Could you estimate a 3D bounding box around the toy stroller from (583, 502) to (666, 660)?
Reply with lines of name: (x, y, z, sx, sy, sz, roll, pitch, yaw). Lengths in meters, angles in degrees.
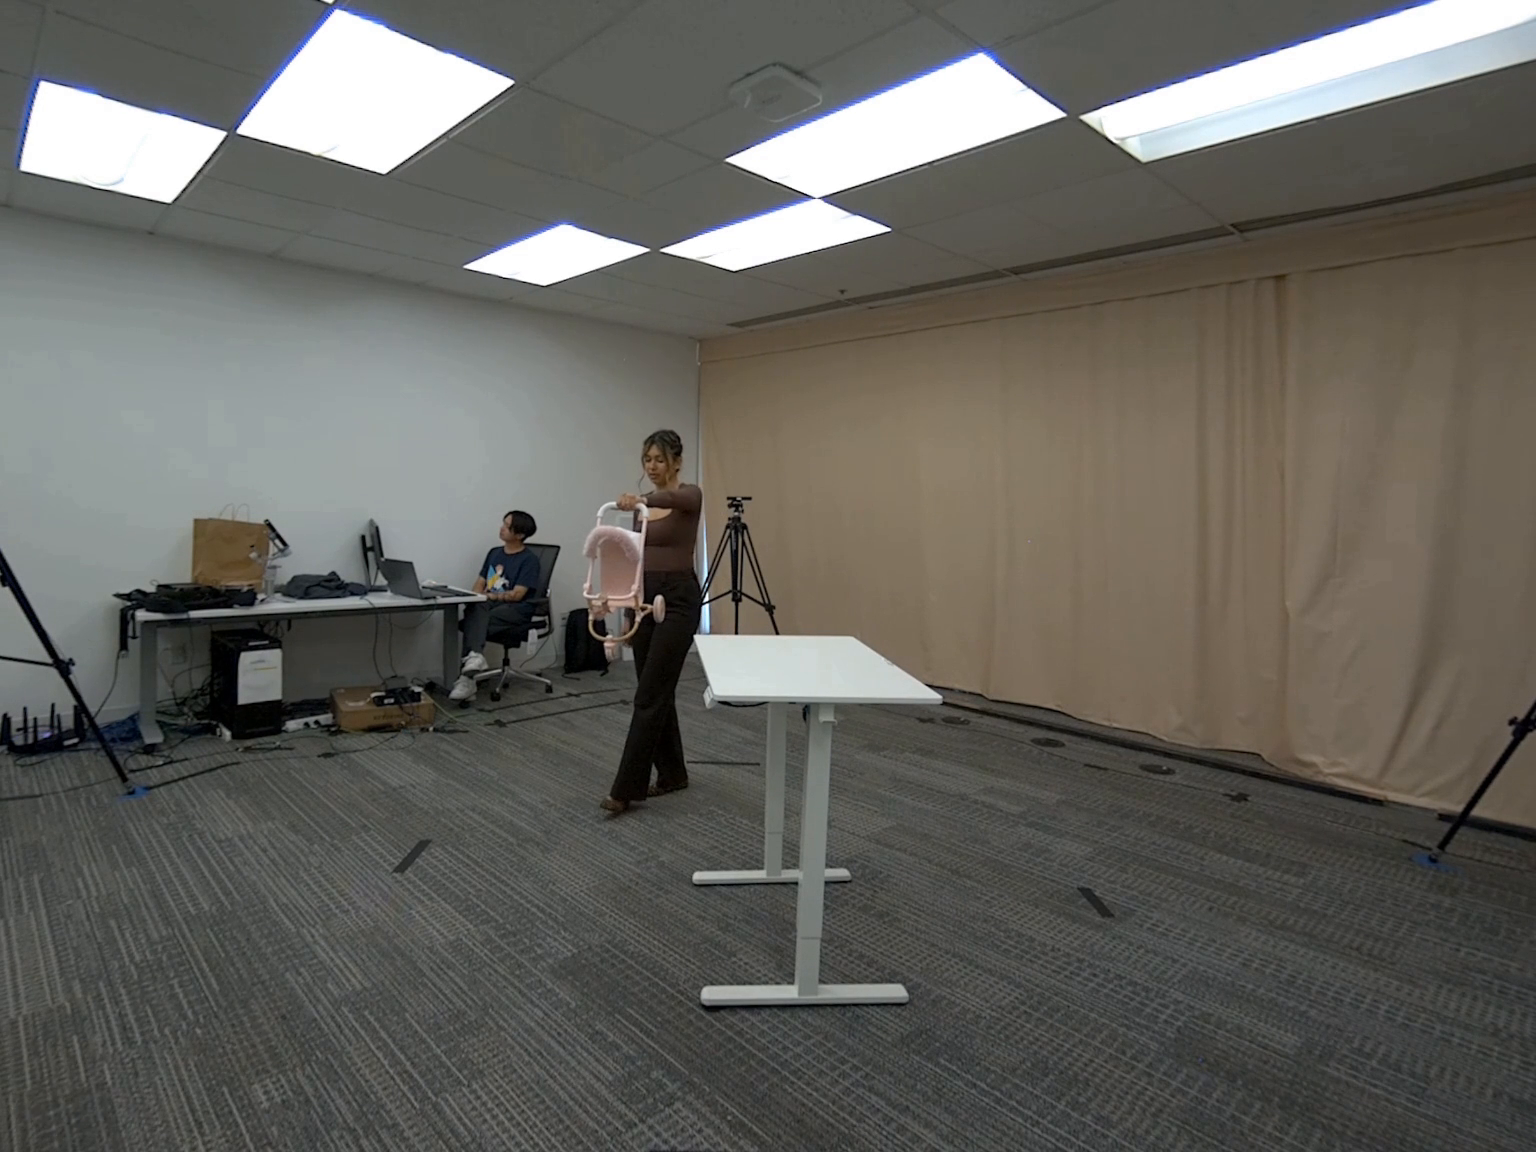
toy stroller: (-0.595, 0.023, 3.217, 0.285, 0.527, 0.342, 5, 20, 12)
